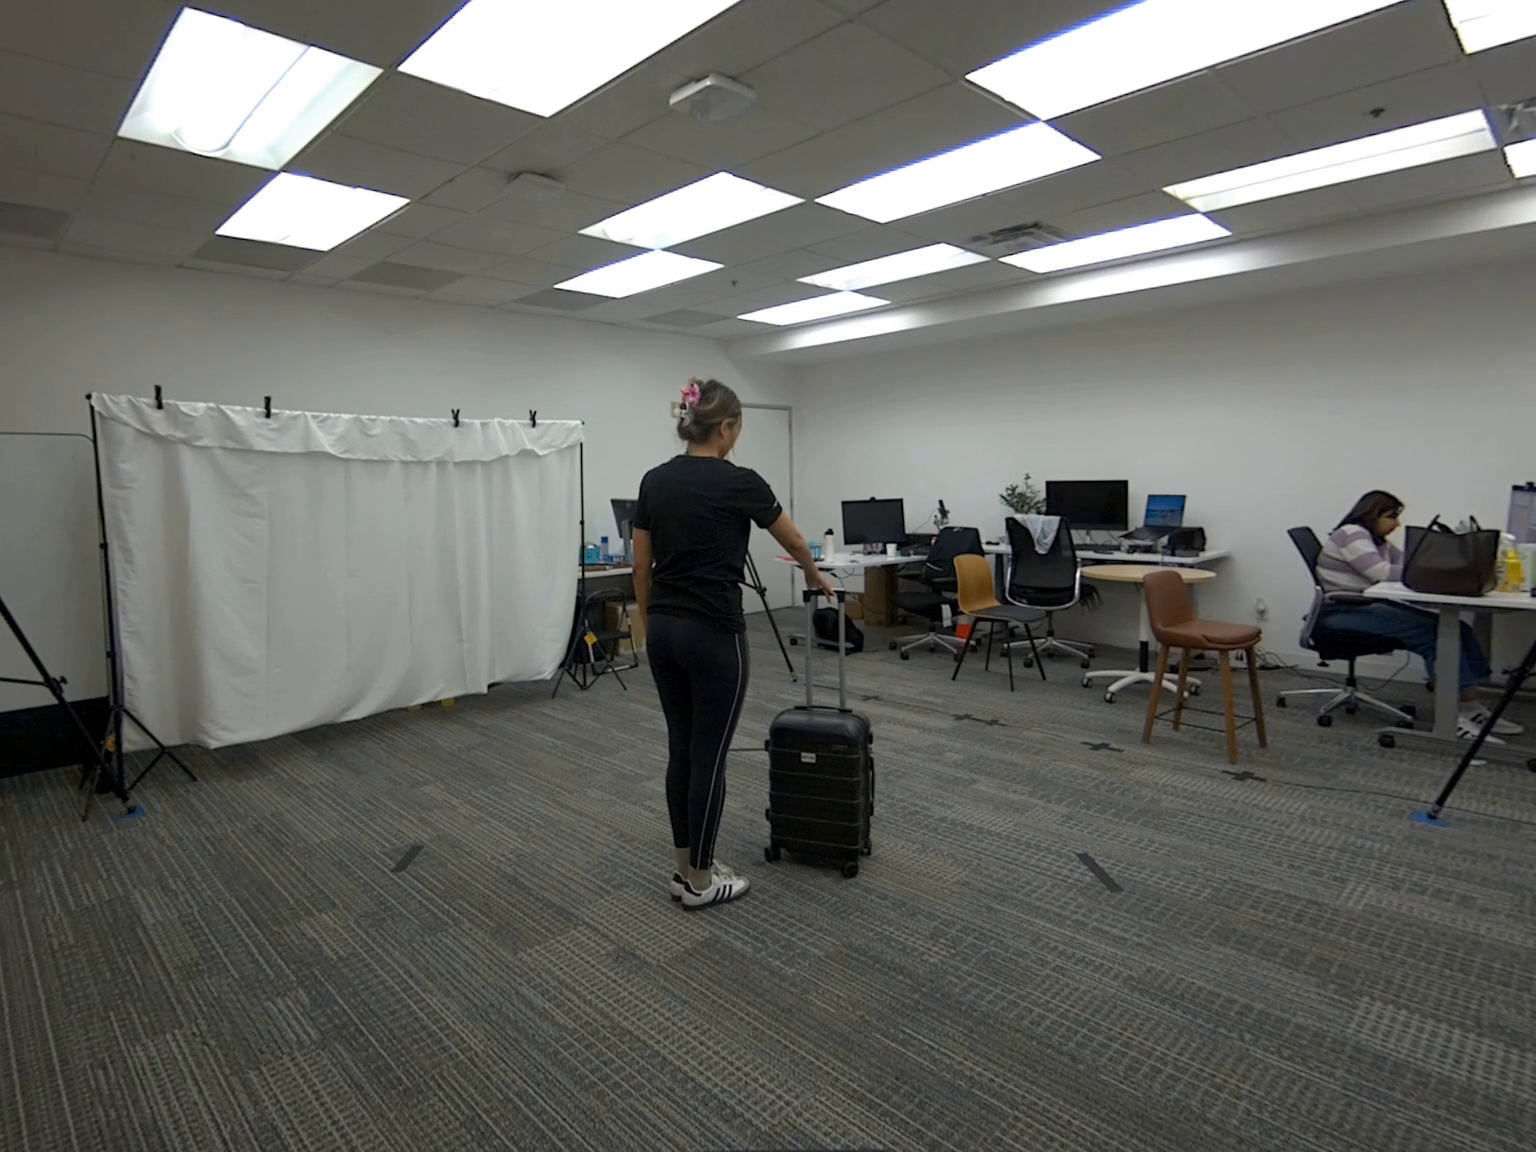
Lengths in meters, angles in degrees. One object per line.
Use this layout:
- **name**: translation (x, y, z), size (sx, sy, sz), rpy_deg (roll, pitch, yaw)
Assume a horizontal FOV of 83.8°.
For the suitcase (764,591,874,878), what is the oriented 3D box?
- **suitcase**: translation (0.196, 0.564, 3.127), size (0.391, 0.974, 0.253), rpy_deg (1, 5, 20)
